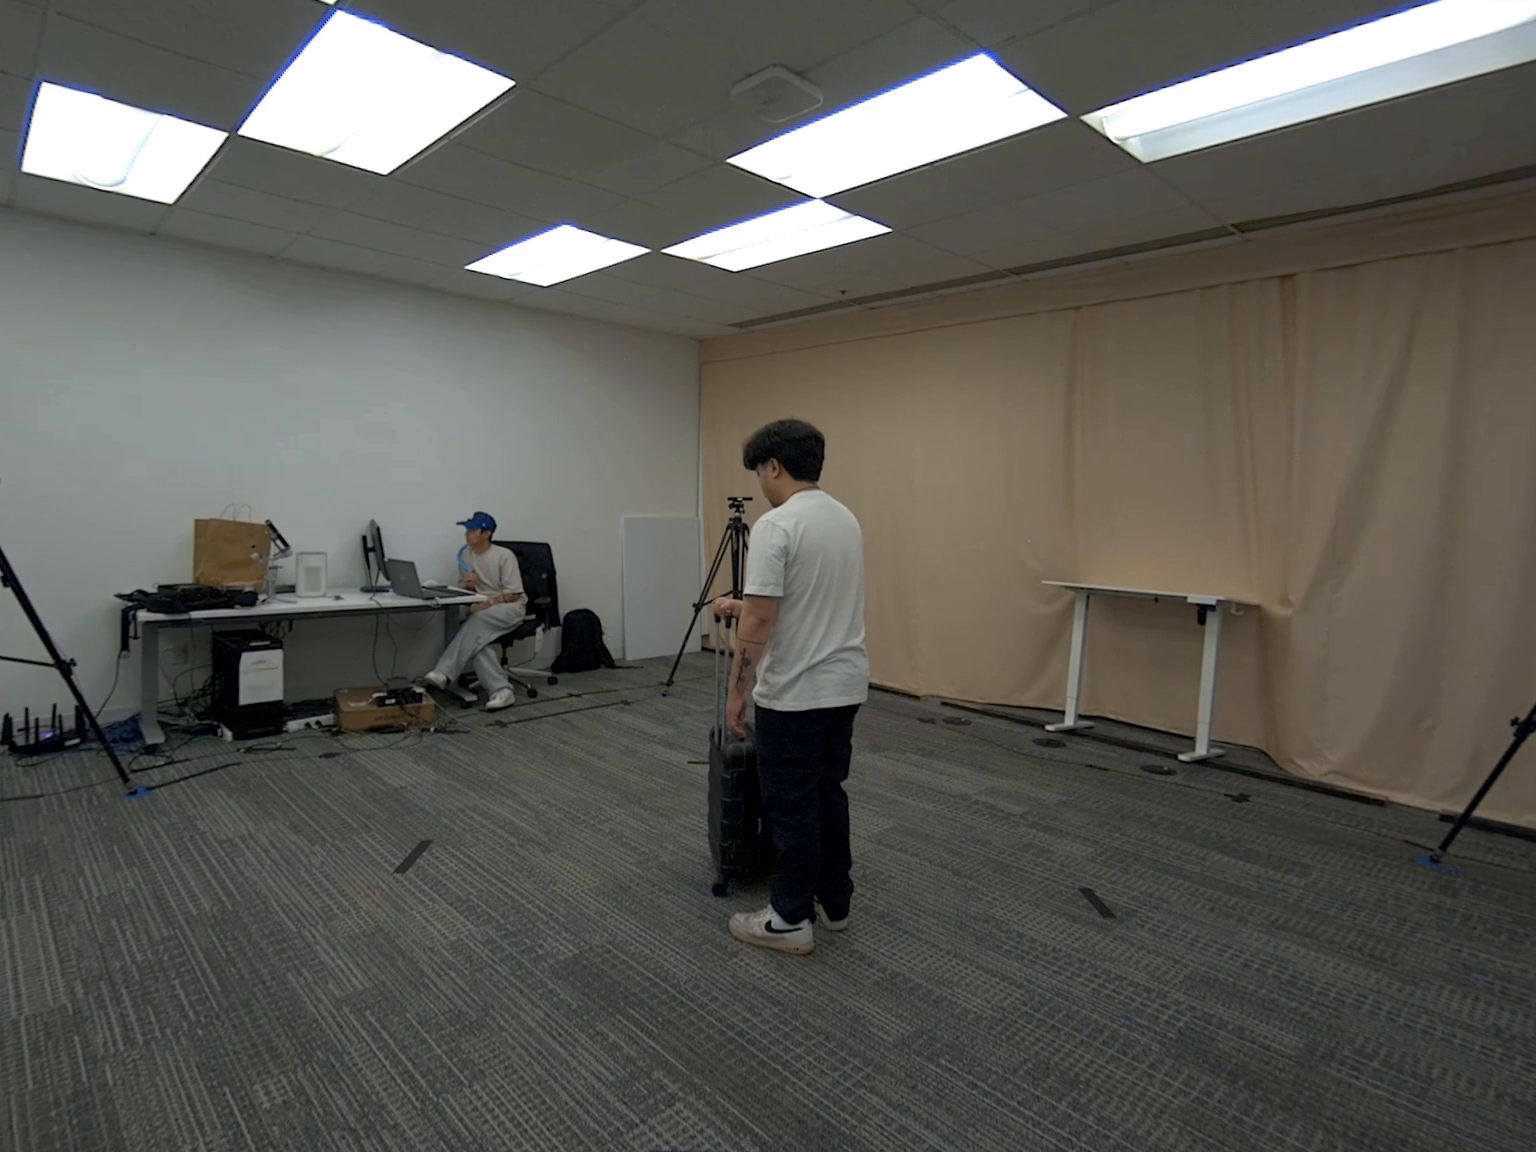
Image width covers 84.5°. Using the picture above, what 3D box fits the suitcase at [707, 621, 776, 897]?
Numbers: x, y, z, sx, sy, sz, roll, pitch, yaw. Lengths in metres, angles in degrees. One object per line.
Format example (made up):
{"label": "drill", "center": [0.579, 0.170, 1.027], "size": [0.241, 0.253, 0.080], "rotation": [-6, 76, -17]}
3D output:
{"label": "suitcase", "center": [-0.081, 0.637, 3.095], "size": [0.255, 0.976, 0.388], "rotation": [2, 4, -9]}
